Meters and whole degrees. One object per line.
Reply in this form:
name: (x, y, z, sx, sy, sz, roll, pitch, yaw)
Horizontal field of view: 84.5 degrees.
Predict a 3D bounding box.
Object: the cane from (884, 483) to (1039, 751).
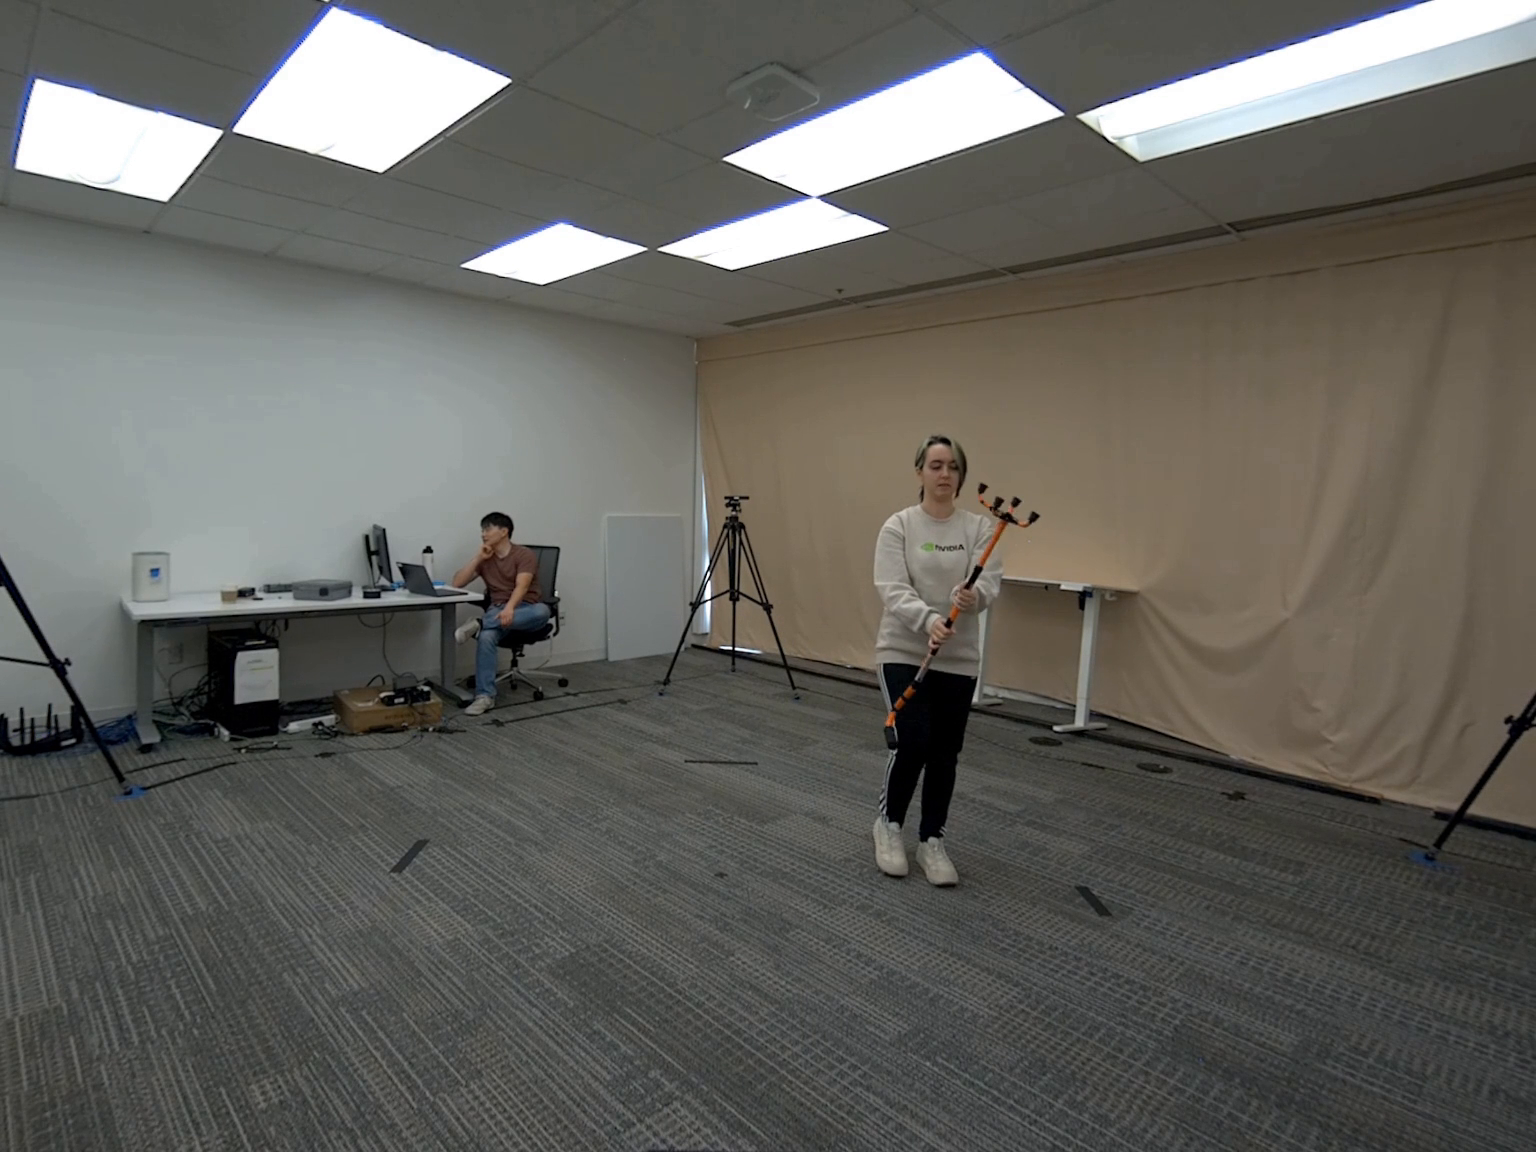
cane: (0.568, 0.156, 2.768, 0.150, 0.902, 0.209, 21, 17, -10)
